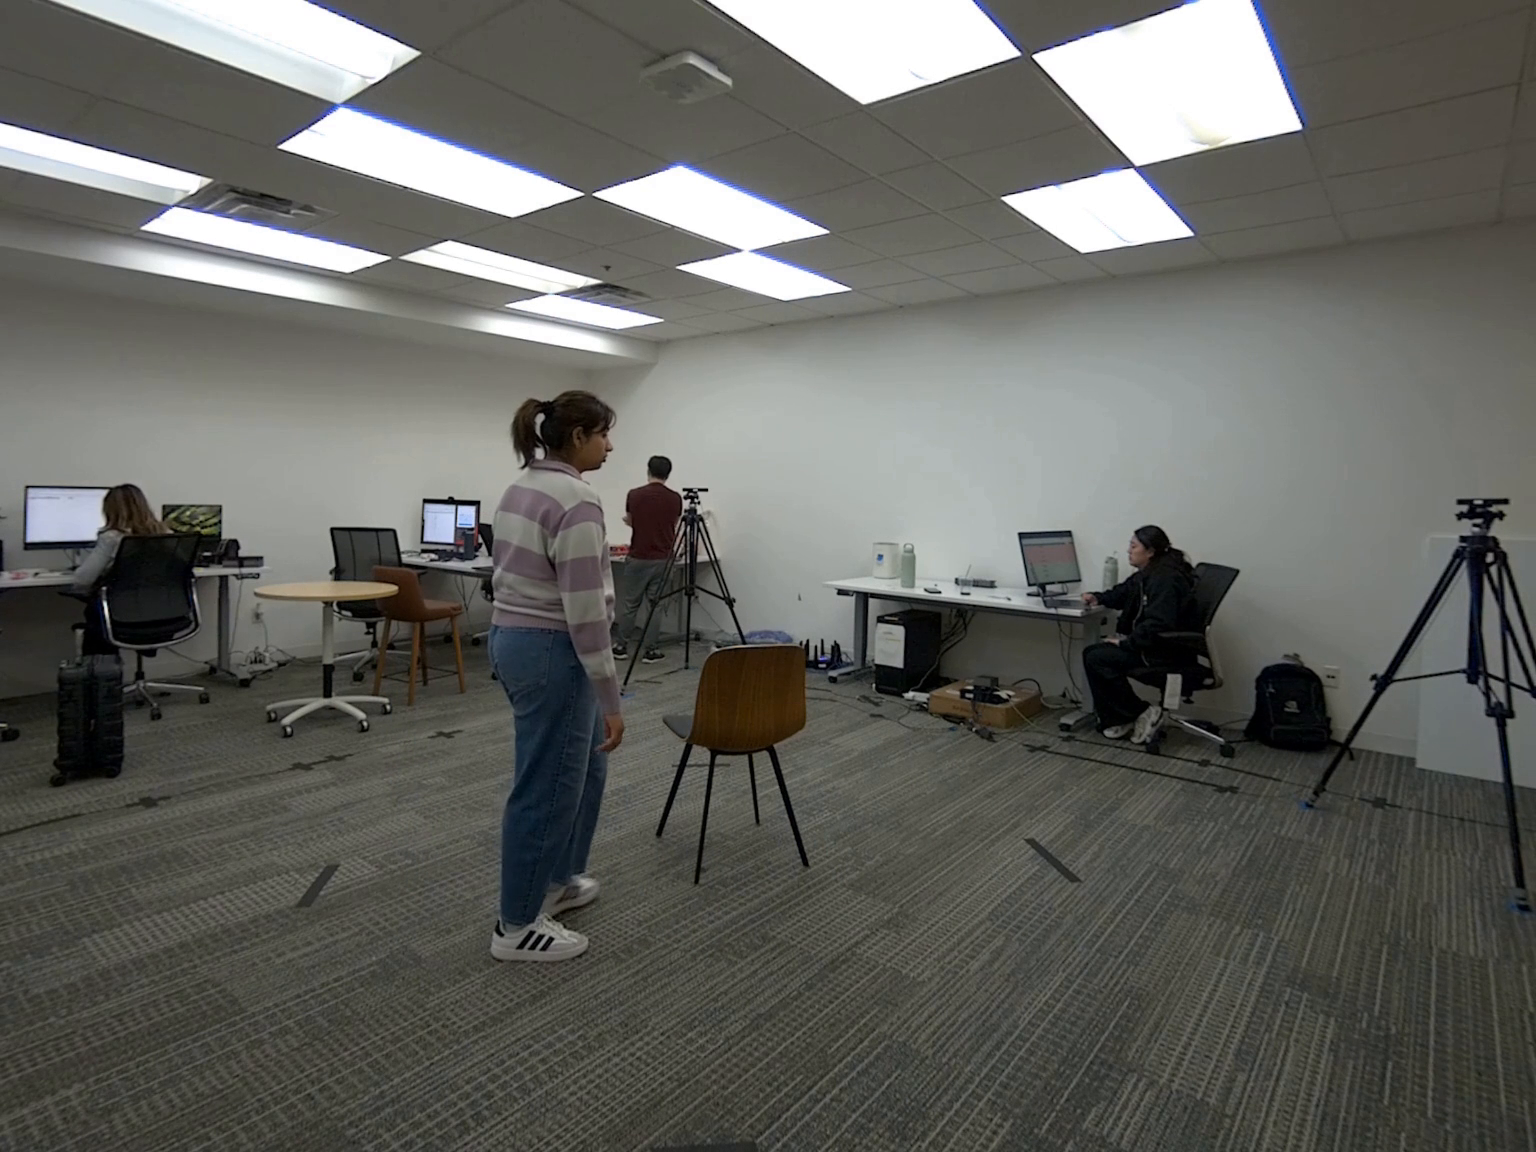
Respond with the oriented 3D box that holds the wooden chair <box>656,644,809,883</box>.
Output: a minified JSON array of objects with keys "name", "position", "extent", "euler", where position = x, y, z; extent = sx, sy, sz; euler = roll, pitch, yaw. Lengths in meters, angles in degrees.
[{"name":"wooden chair","position":[-0.153,0.628,3.254],"extent":[0.467,0.872,0.538],"euler":[0,8,-24]}]
